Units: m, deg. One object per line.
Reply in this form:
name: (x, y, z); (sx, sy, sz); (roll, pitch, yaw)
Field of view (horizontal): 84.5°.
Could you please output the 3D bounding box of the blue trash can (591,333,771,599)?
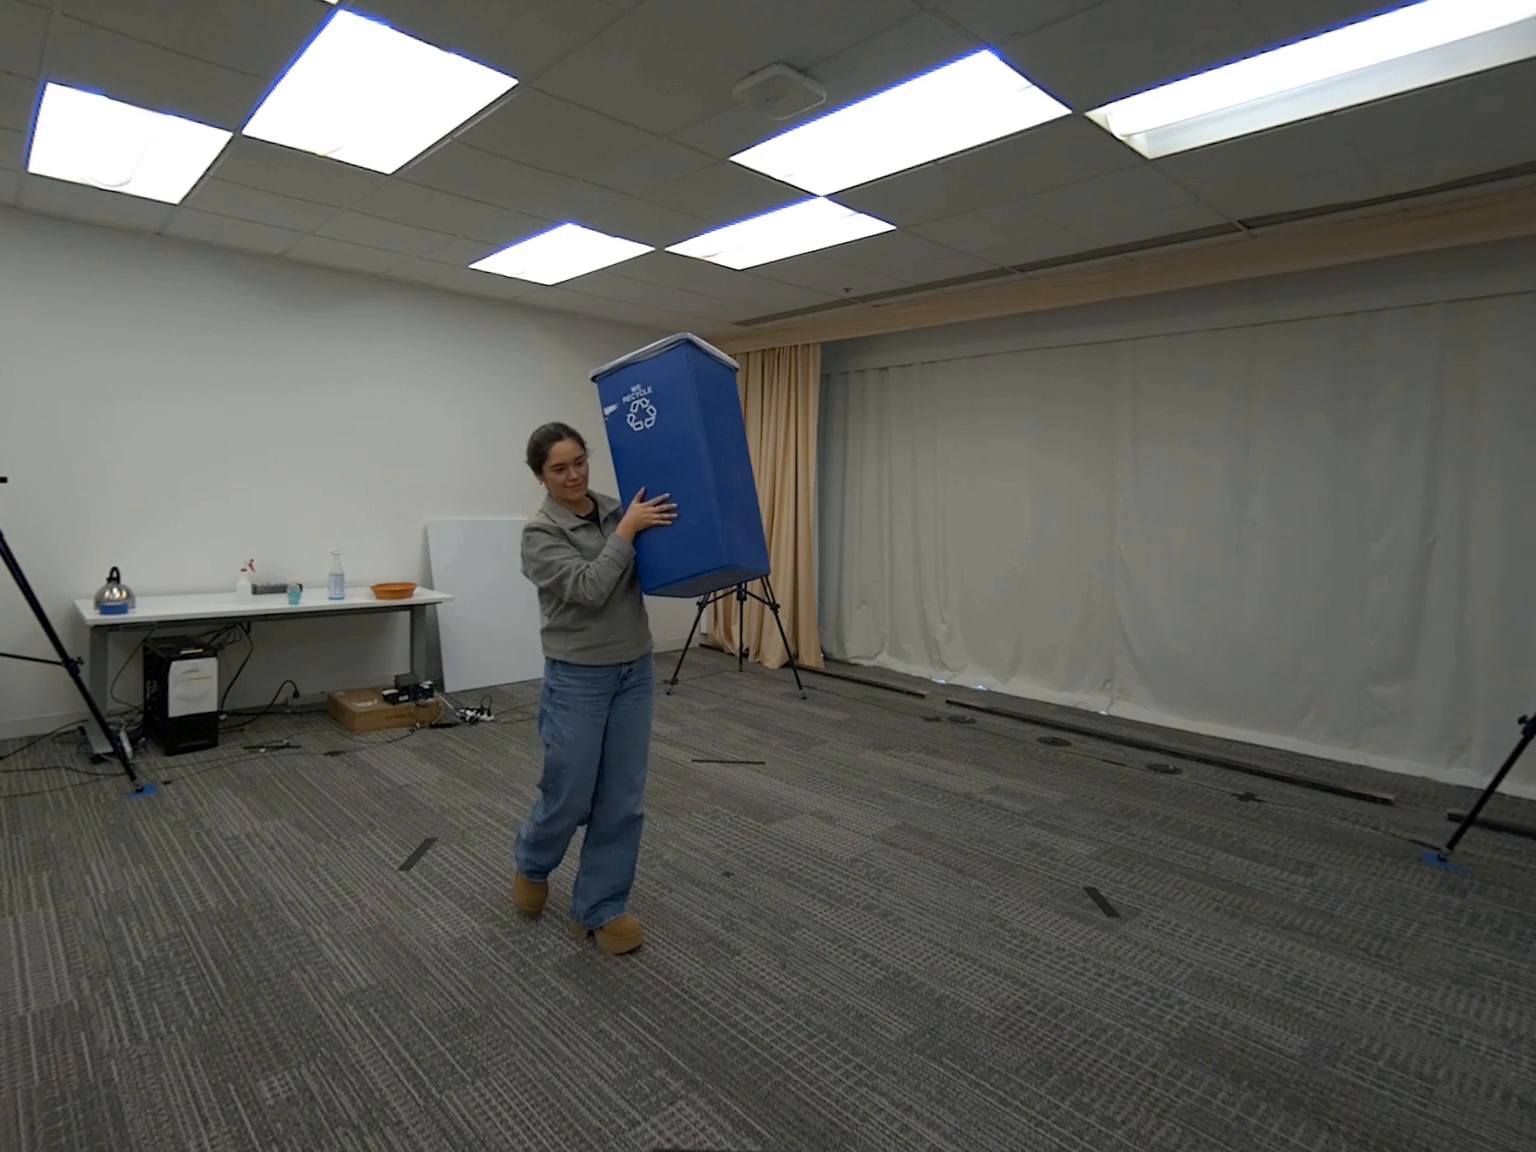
blue trash can: (-0.257, -0.319, 2.617); (0.378, 0.721, 0.370); (-17, -12, 24)
